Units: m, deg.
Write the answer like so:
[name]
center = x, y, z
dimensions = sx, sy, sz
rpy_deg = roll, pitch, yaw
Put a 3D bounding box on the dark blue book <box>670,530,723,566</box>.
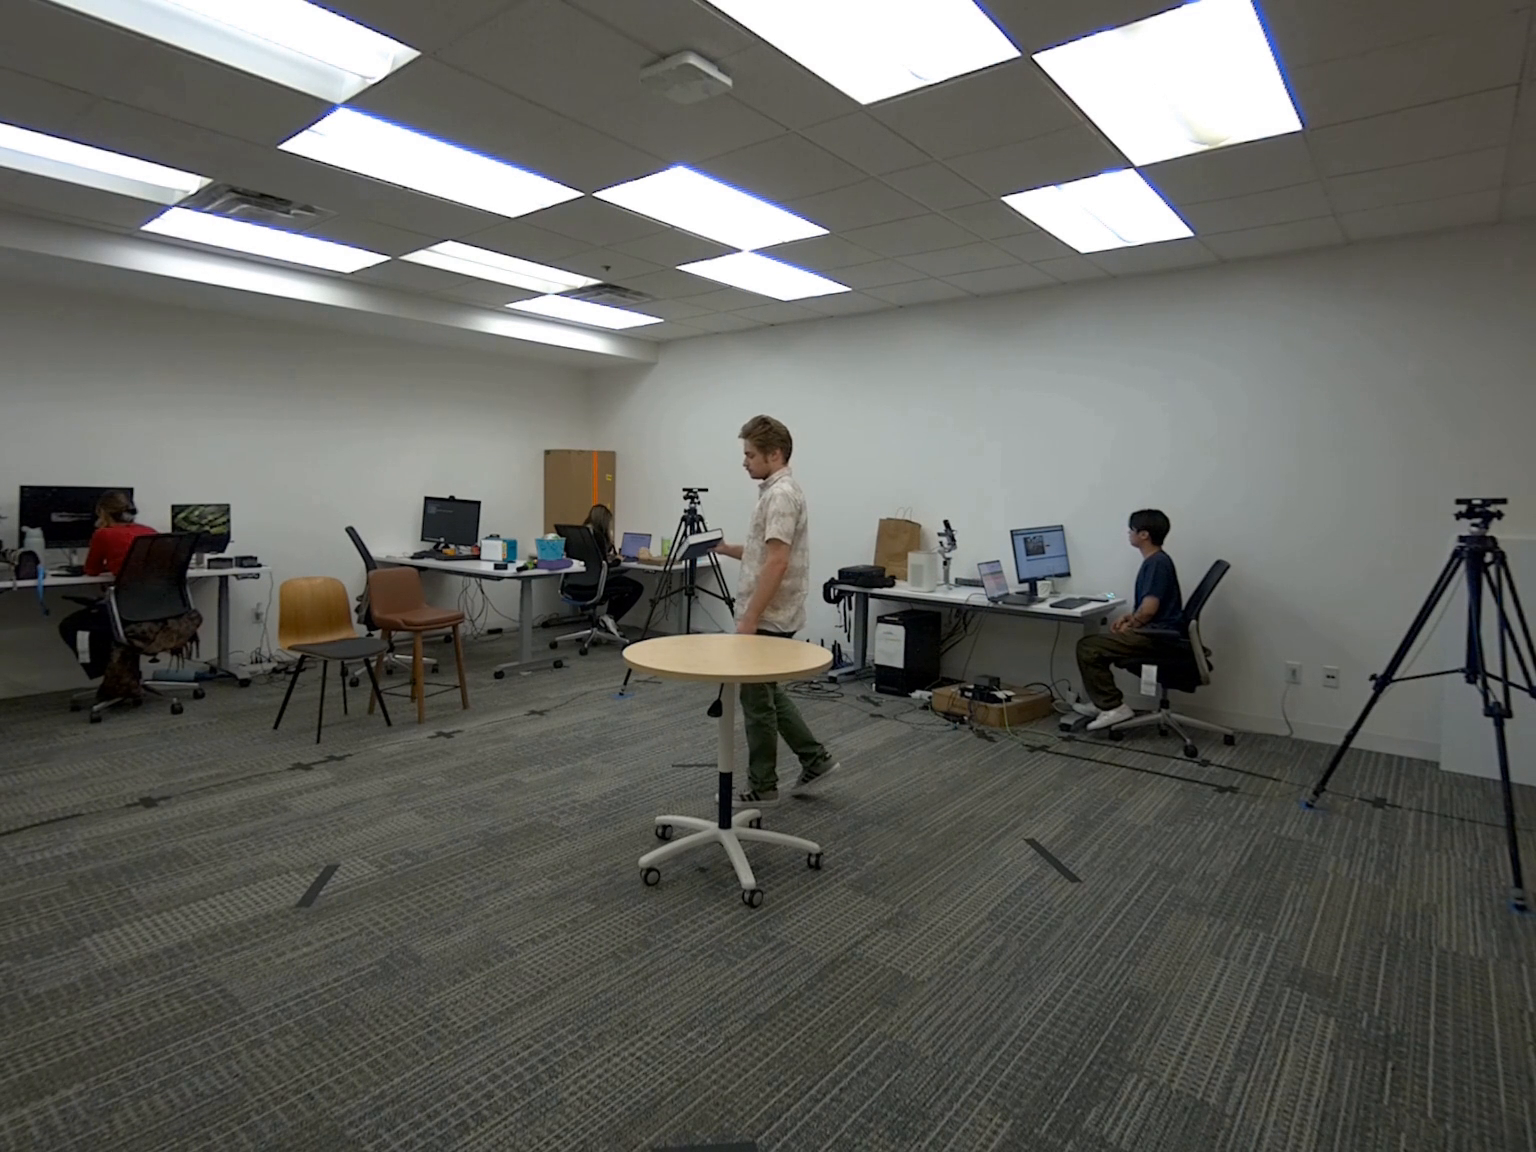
[dark blue book]
center = -0.319, -0.141, 3.819
dimensions = 0.160, 0.046, 0.245
rpy_deg = -13, -12, -22
